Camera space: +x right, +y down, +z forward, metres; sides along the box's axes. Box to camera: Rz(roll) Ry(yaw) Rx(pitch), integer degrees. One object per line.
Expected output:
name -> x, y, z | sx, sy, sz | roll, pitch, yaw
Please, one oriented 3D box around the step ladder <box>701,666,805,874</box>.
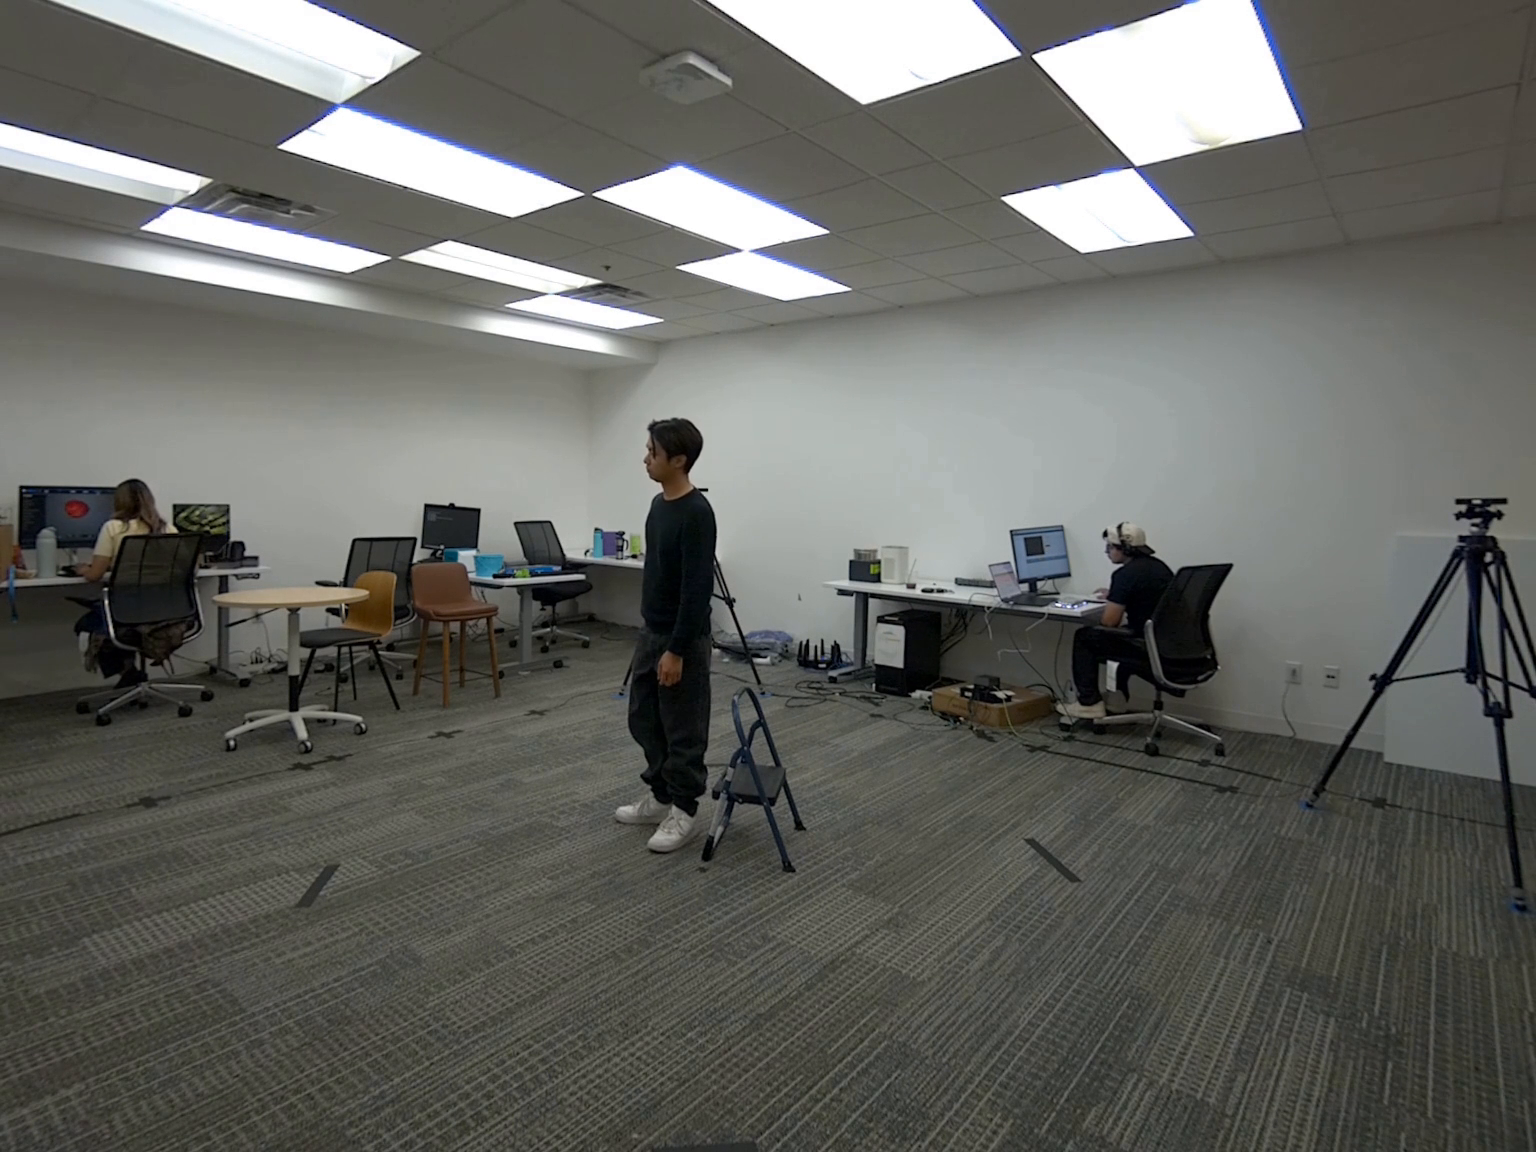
step ladder -> -0.047, 0.748, 3.322 | 0.353, 0.604, 0.427 | 2, 4, 10
